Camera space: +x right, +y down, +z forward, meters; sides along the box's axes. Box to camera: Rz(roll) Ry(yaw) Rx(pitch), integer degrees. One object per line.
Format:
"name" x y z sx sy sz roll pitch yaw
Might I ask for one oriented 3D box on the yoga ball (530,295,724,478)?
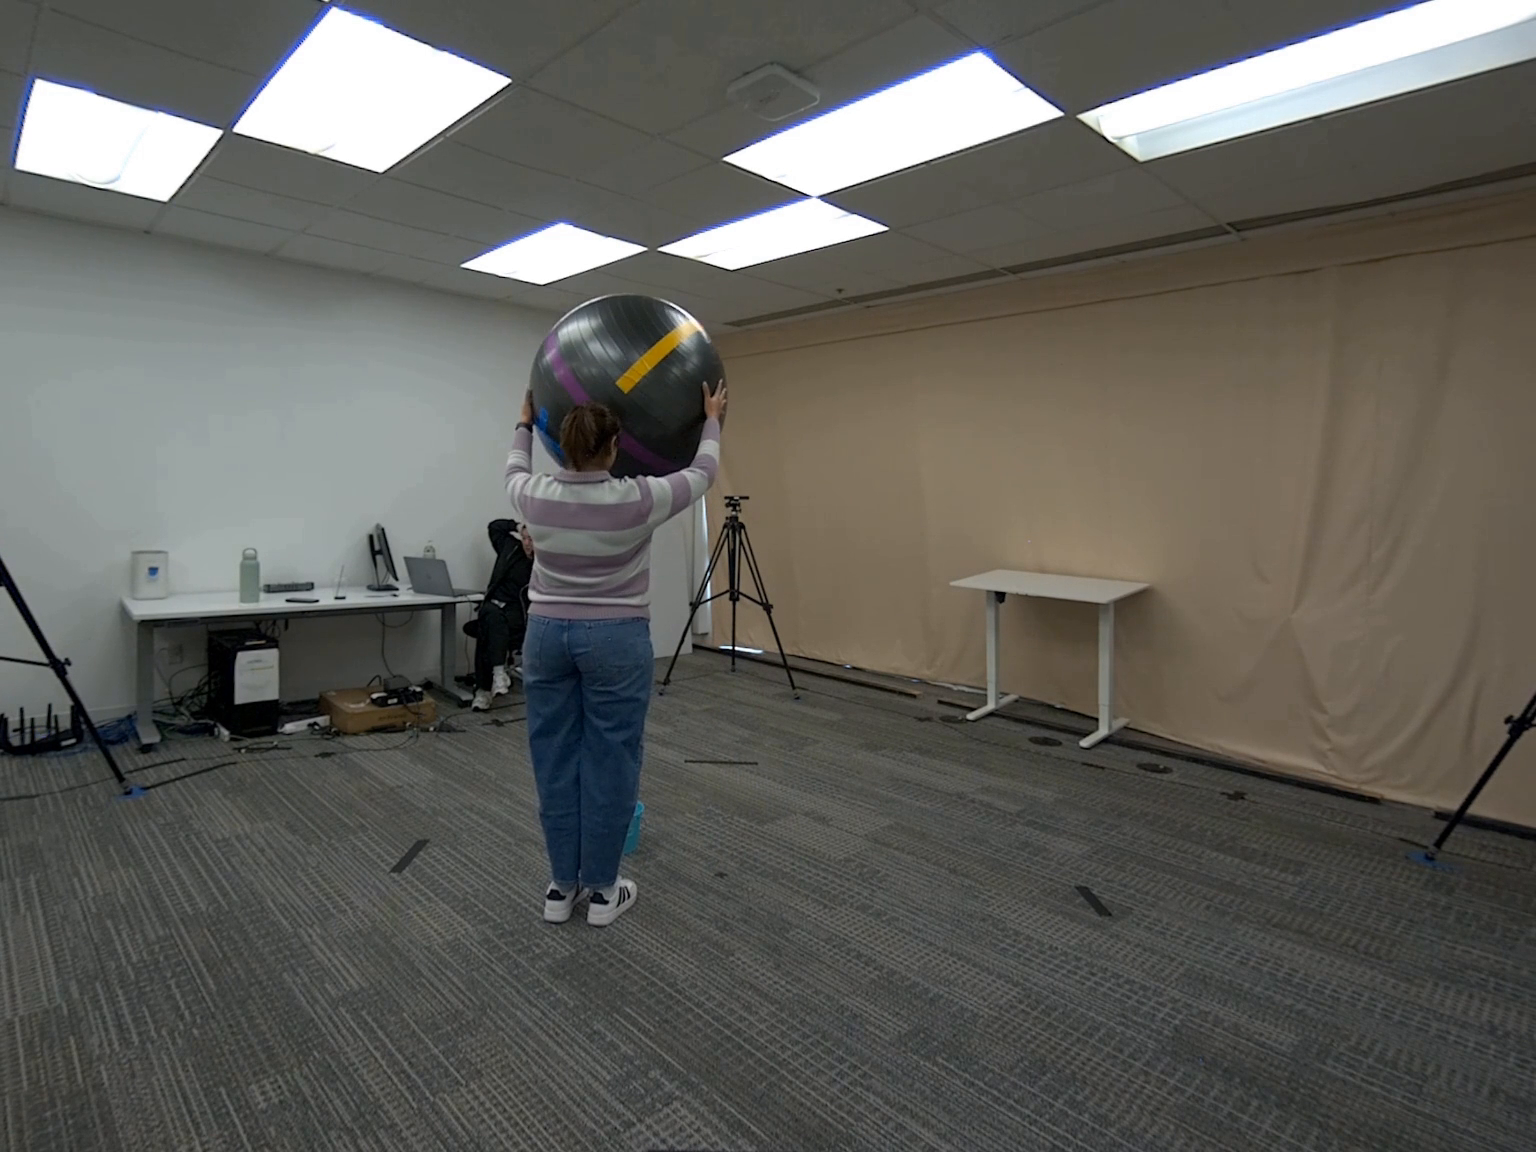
"yoga ball" -0.538 -0.684 3.234 0.757 0.756 0.761 1 4 -1
